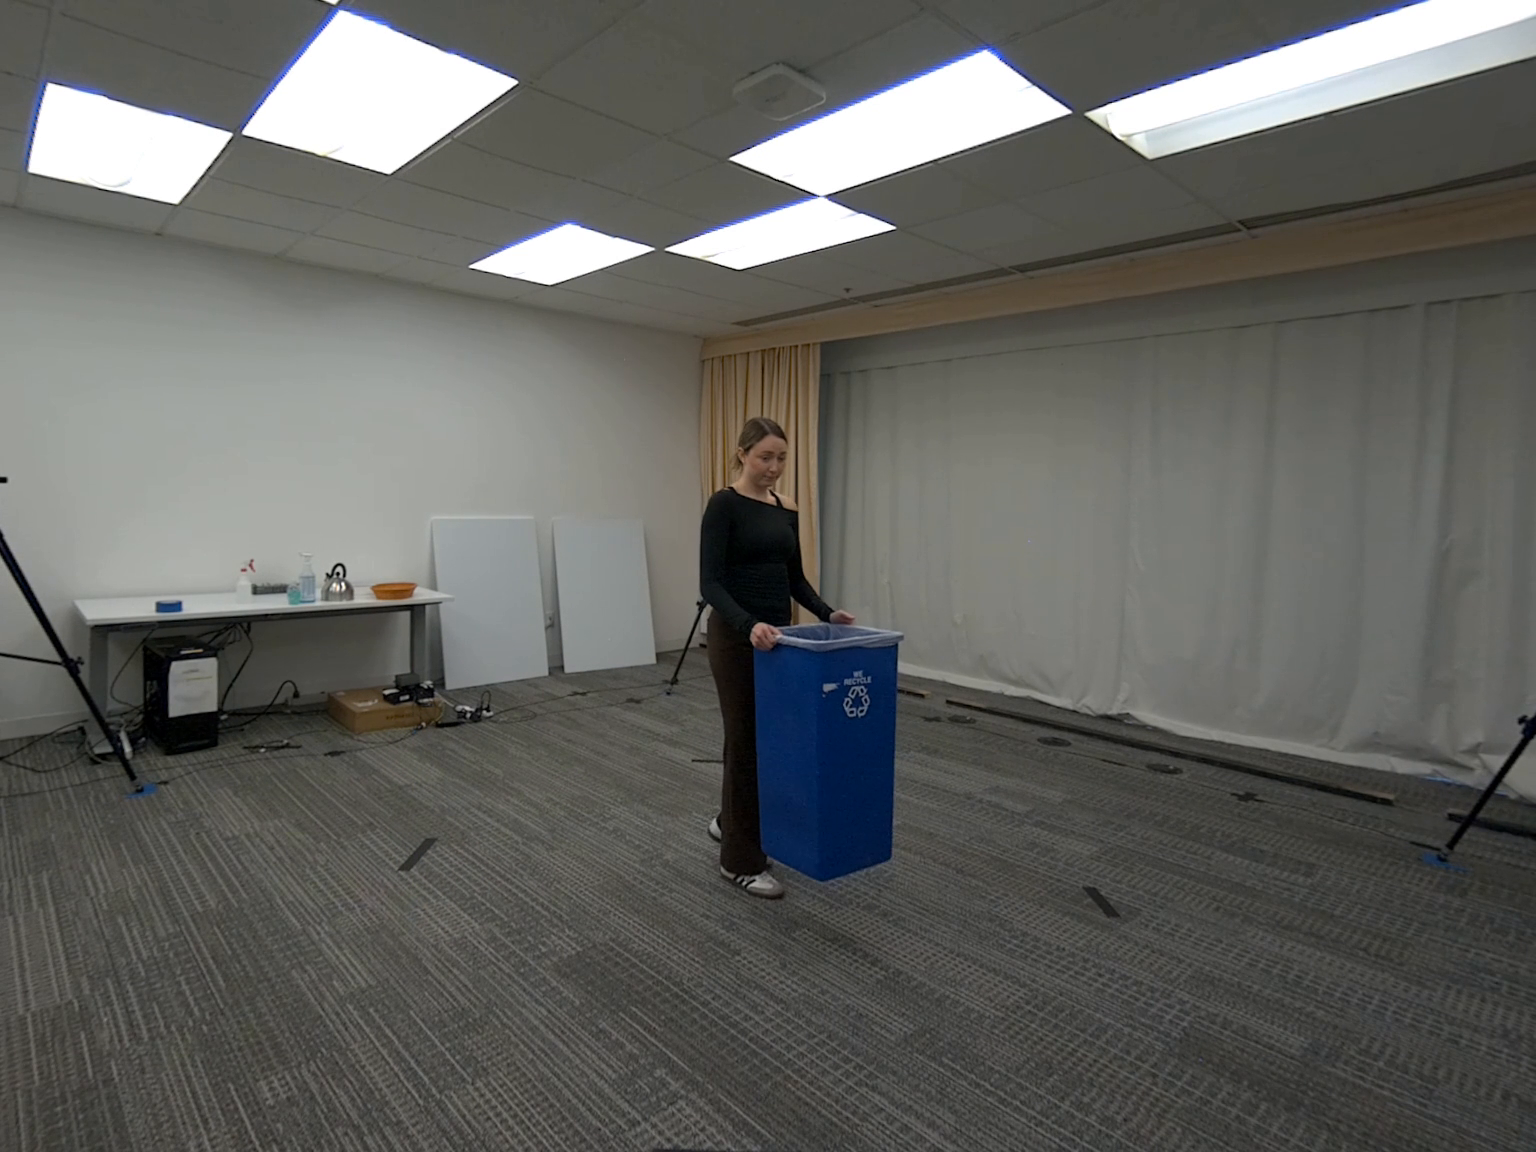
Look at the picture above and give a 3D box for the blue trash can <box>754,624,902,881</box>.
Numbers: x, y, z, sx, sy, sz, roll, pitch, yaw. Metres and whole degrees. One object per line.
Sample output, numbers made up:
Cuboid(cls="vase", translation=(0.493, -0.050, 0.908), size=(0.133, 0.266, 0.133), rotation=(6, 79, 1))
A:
Cuboid(cls="blue trash can", translation=(0.185, 0.534, 2.672), size=(0.366, 0.712, 0.387), rotation=(-2, 3, -36))
